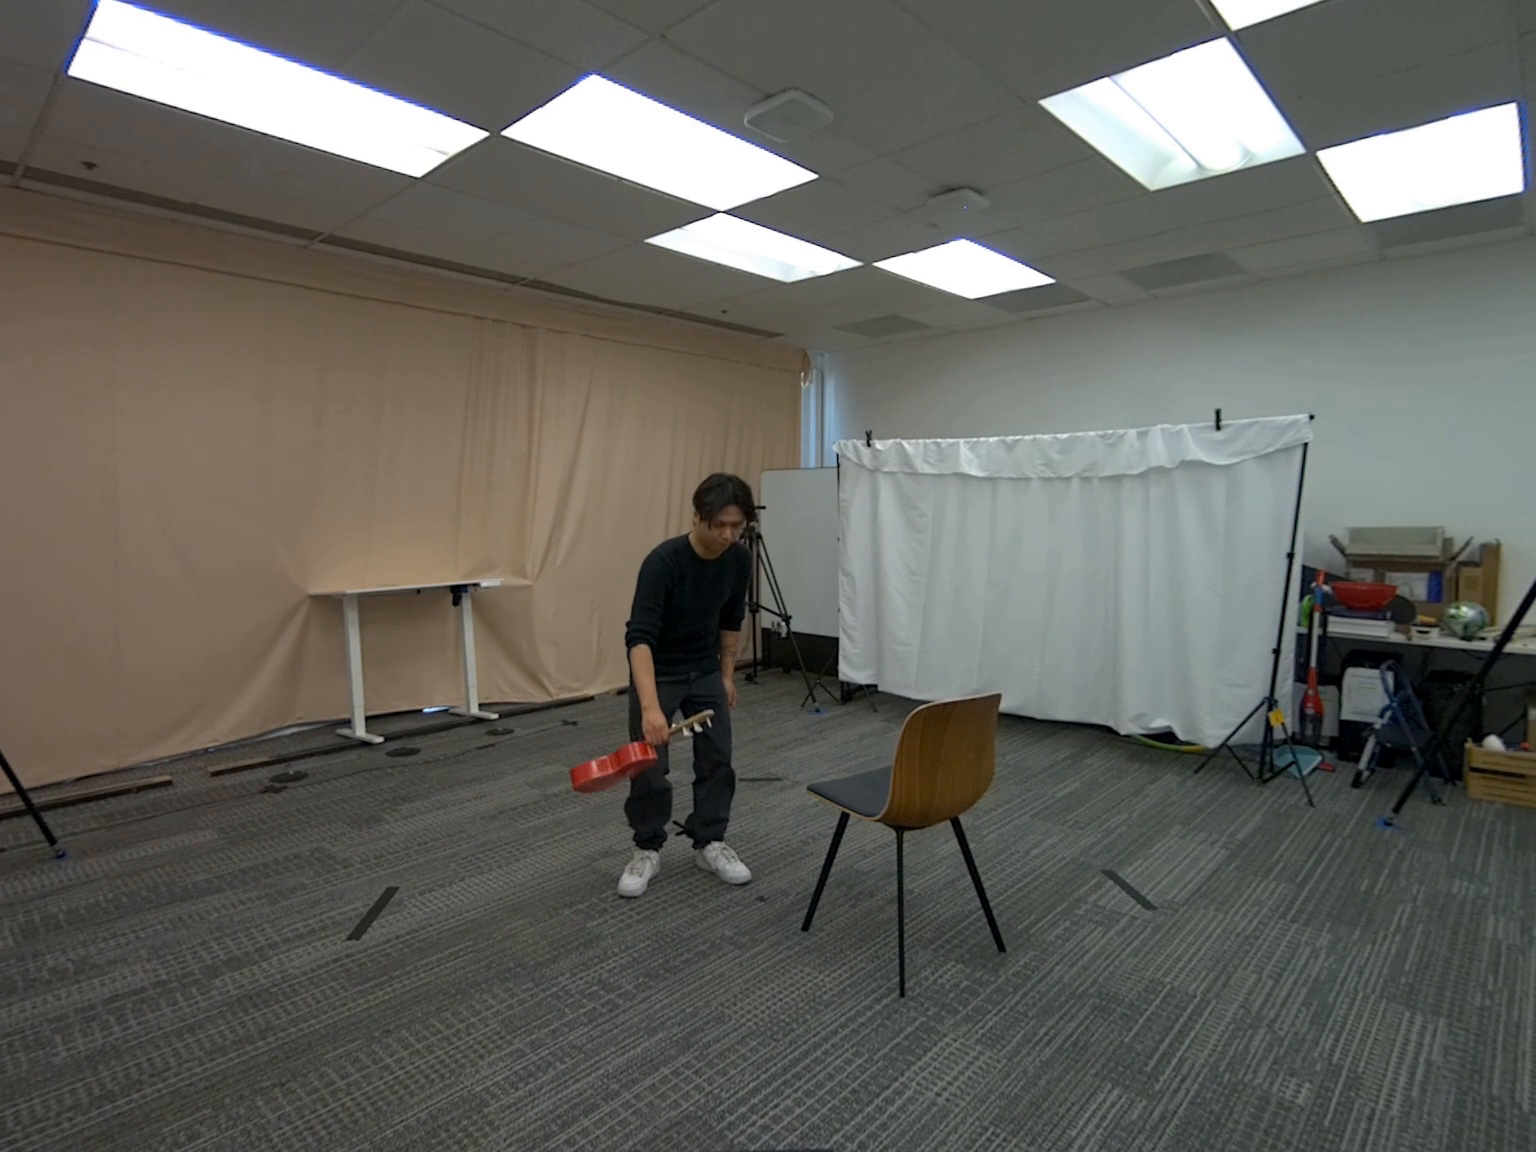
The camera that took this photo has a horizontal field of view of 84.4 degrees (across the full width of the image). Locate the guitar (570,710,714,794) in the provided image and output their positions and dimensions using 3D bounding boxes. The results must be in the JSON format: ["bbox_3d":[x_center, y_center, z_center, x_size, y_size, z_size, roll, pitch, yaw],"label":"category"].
[{"bbox_3d":[-0.403,0.550,2.635,0.503,0.072,0.187,-29,-24,18],"label":"guitar"}]
